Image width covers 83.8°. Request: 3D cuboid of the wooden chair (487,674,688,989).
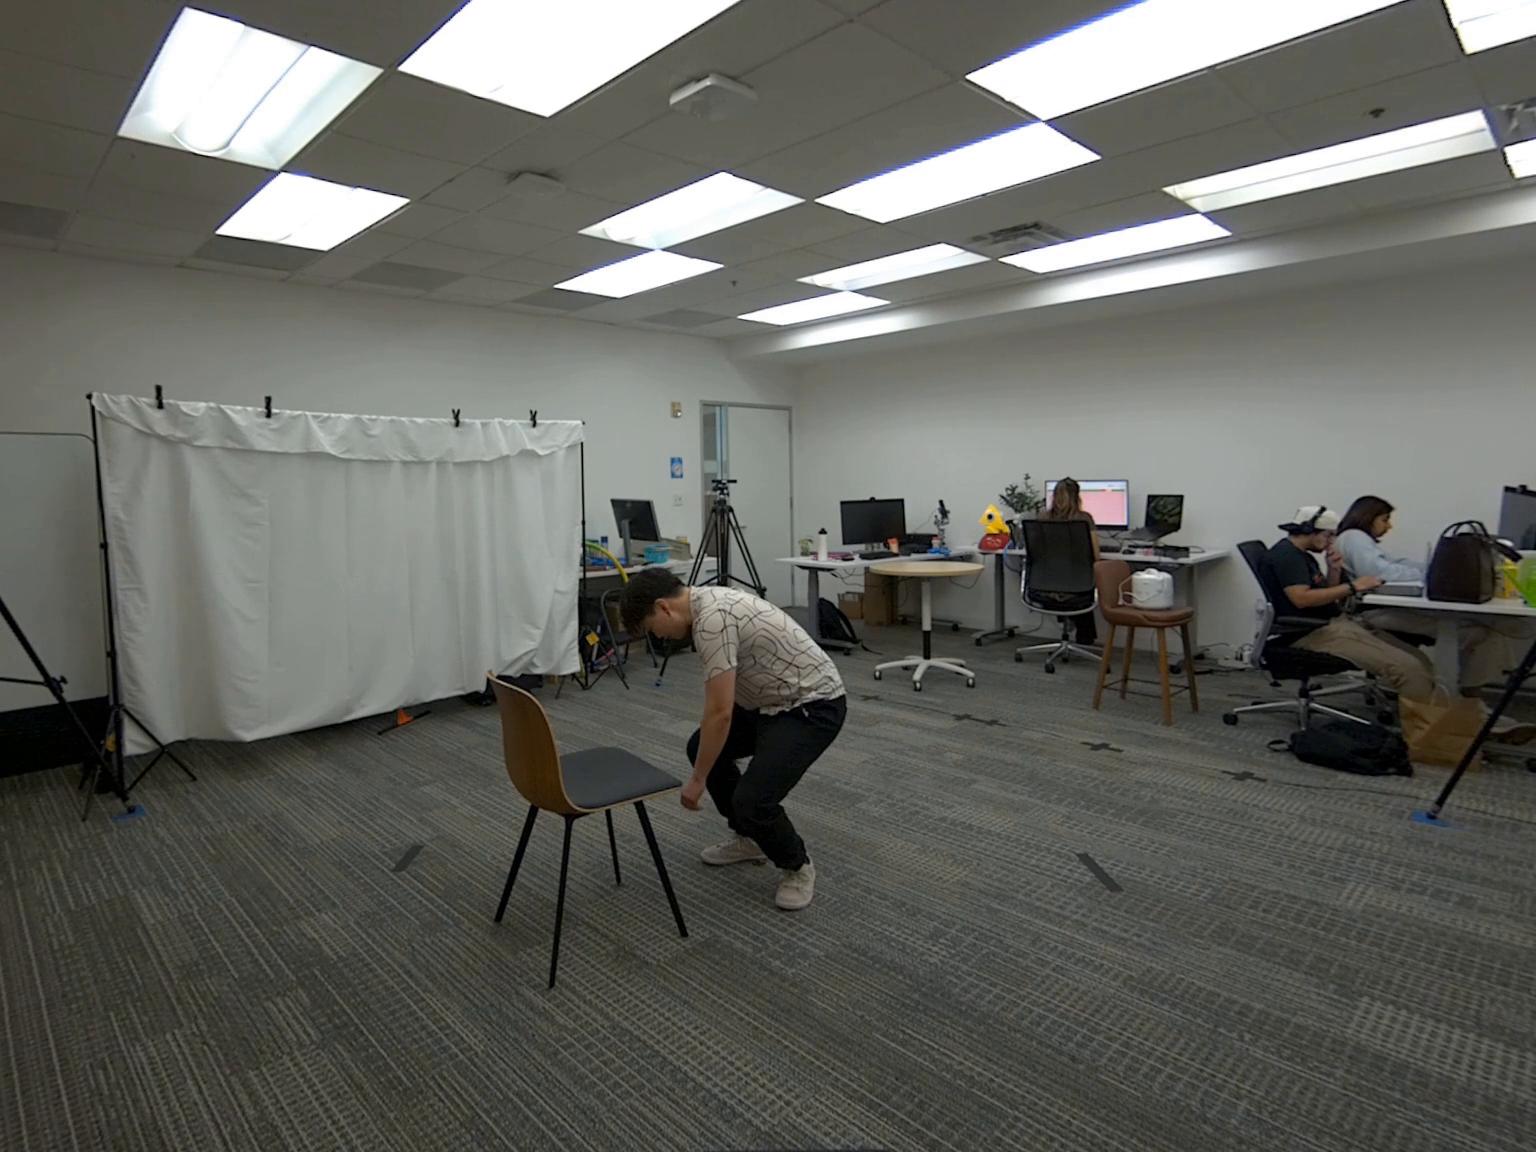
[{"bbox_3d":[-0.562,0.685,2.650,0.511,0.872,0.492,-9,8,-36],"label":"wooden chair"}]
